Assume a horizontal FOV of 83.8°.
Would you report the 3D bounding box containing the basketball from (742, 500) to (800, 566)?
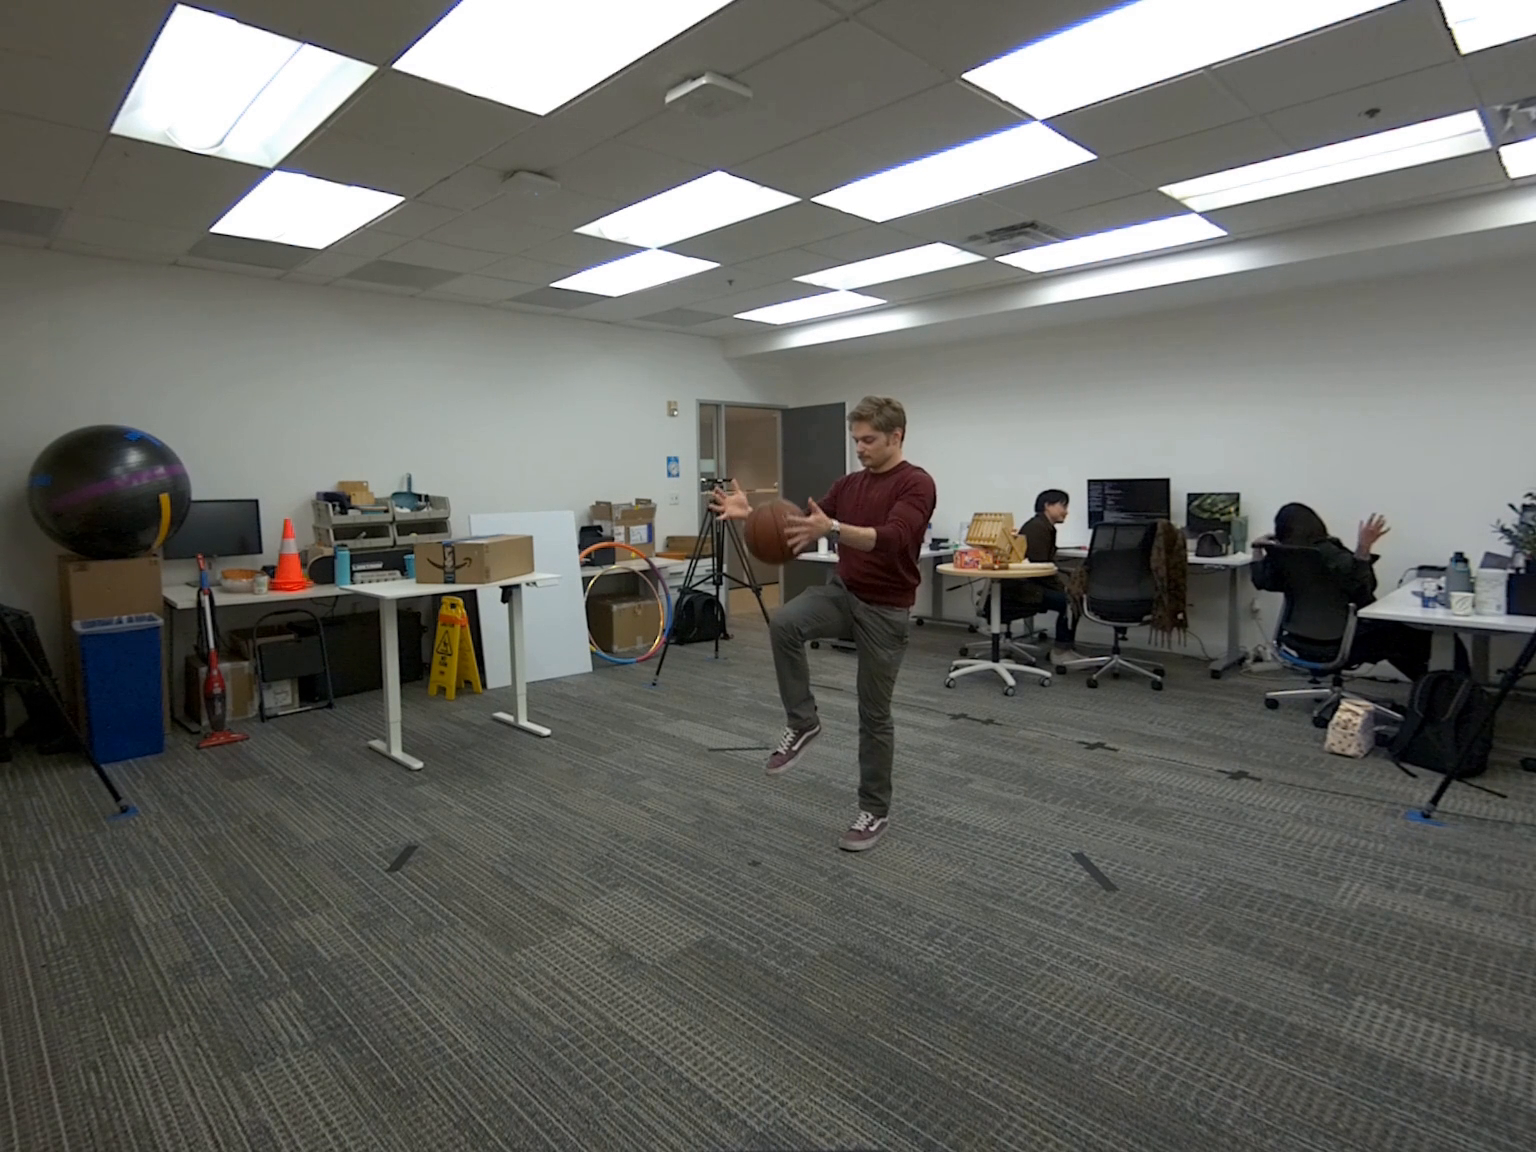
[{"bbox_3d":[0.033,-0.193,3.068,0.236,0.235,0.237,-1,5,-2],"label":"basketball"}]
